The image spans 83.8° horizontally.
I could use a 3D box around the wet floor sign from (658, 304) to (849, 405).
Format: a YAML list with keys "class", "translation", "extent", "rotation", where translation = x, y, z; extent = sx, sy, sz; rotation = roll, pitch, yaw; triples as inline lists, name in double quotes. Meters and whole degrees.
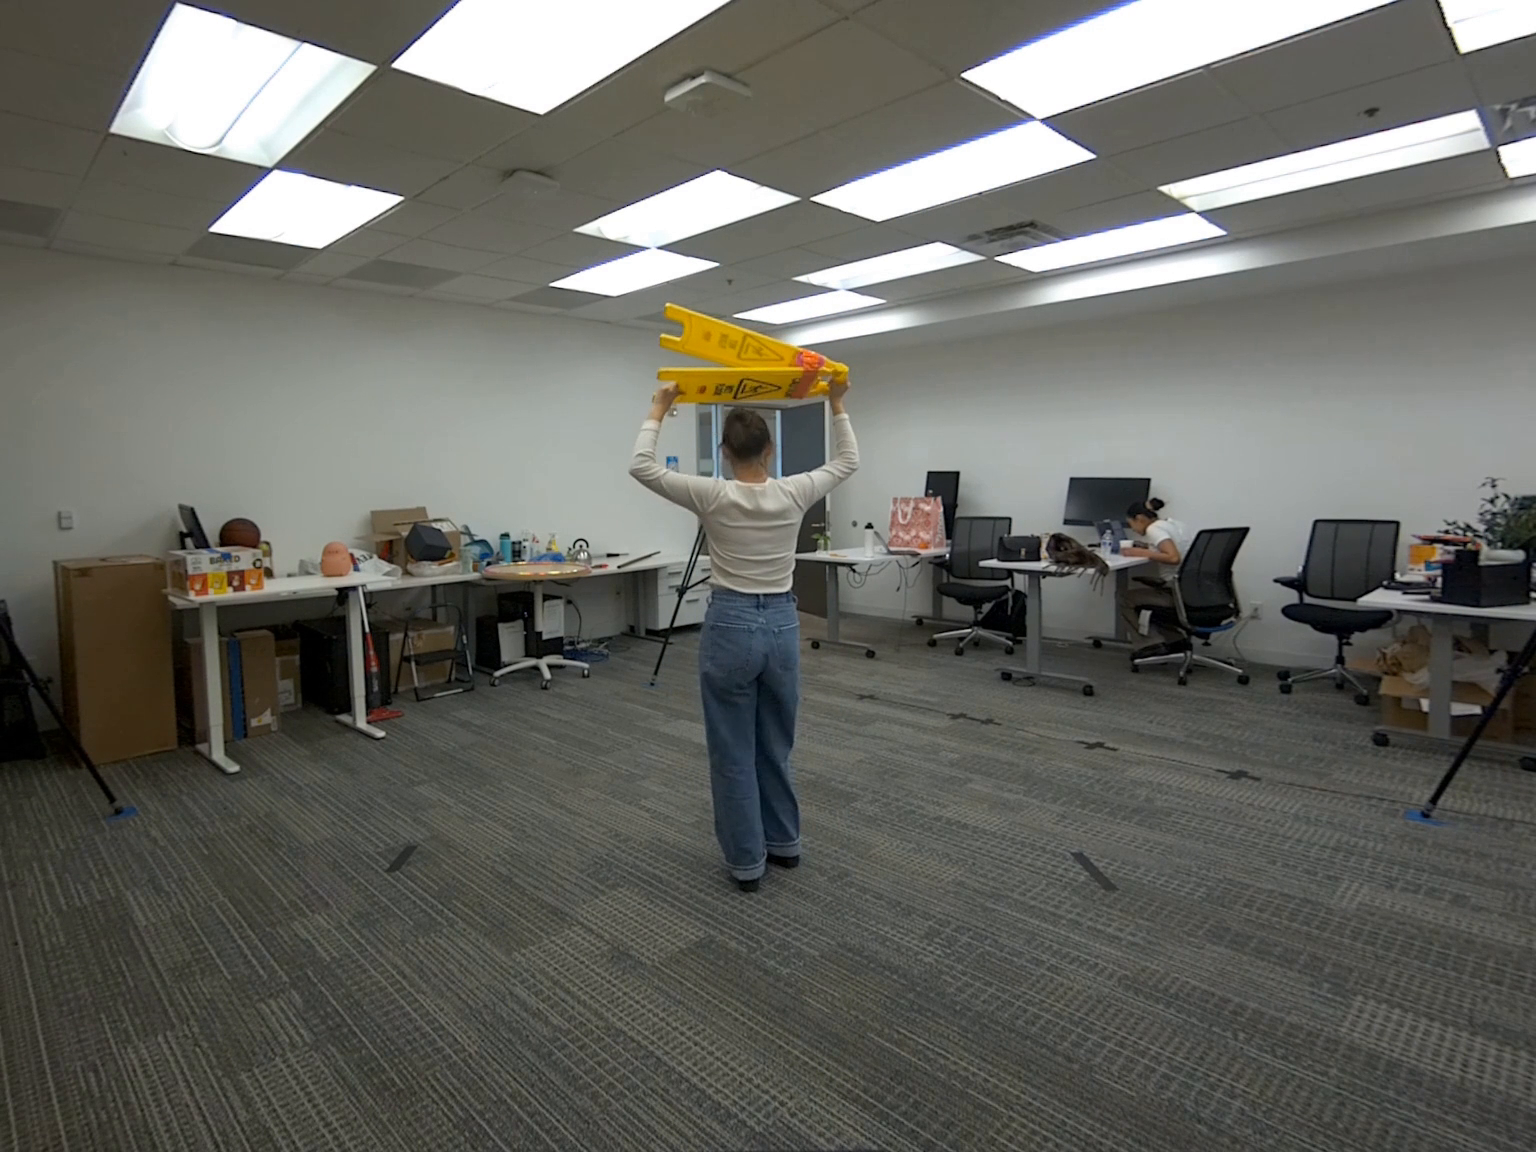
- class: "wet floor sign"
  translation: [-0.049, -0.719, 2.970]
  extent: [0.640, 0.294, 0.281]
  rotation: [5, -17, -8]
